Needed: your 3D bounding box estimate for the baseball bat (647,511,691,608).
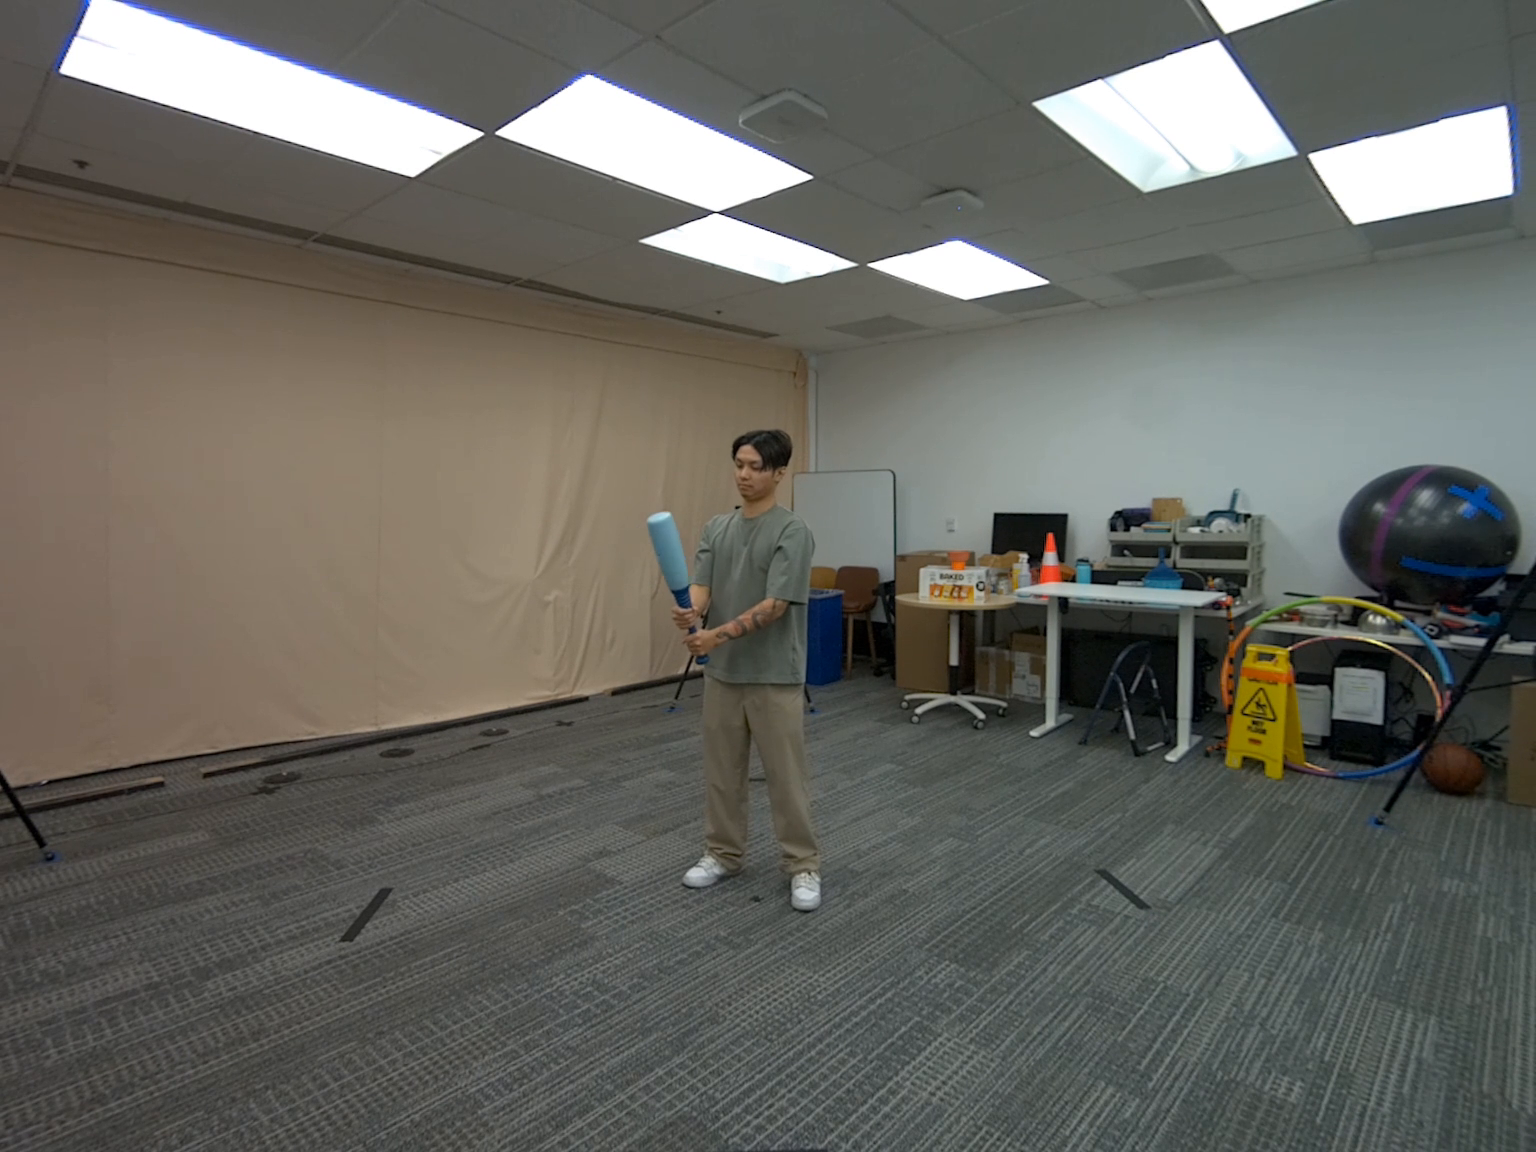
[{"bbox_3d":[-0.295,0.064,2.752,0.089,0.534,0.090,-12,19,3],"label":"baseball bat"}]
